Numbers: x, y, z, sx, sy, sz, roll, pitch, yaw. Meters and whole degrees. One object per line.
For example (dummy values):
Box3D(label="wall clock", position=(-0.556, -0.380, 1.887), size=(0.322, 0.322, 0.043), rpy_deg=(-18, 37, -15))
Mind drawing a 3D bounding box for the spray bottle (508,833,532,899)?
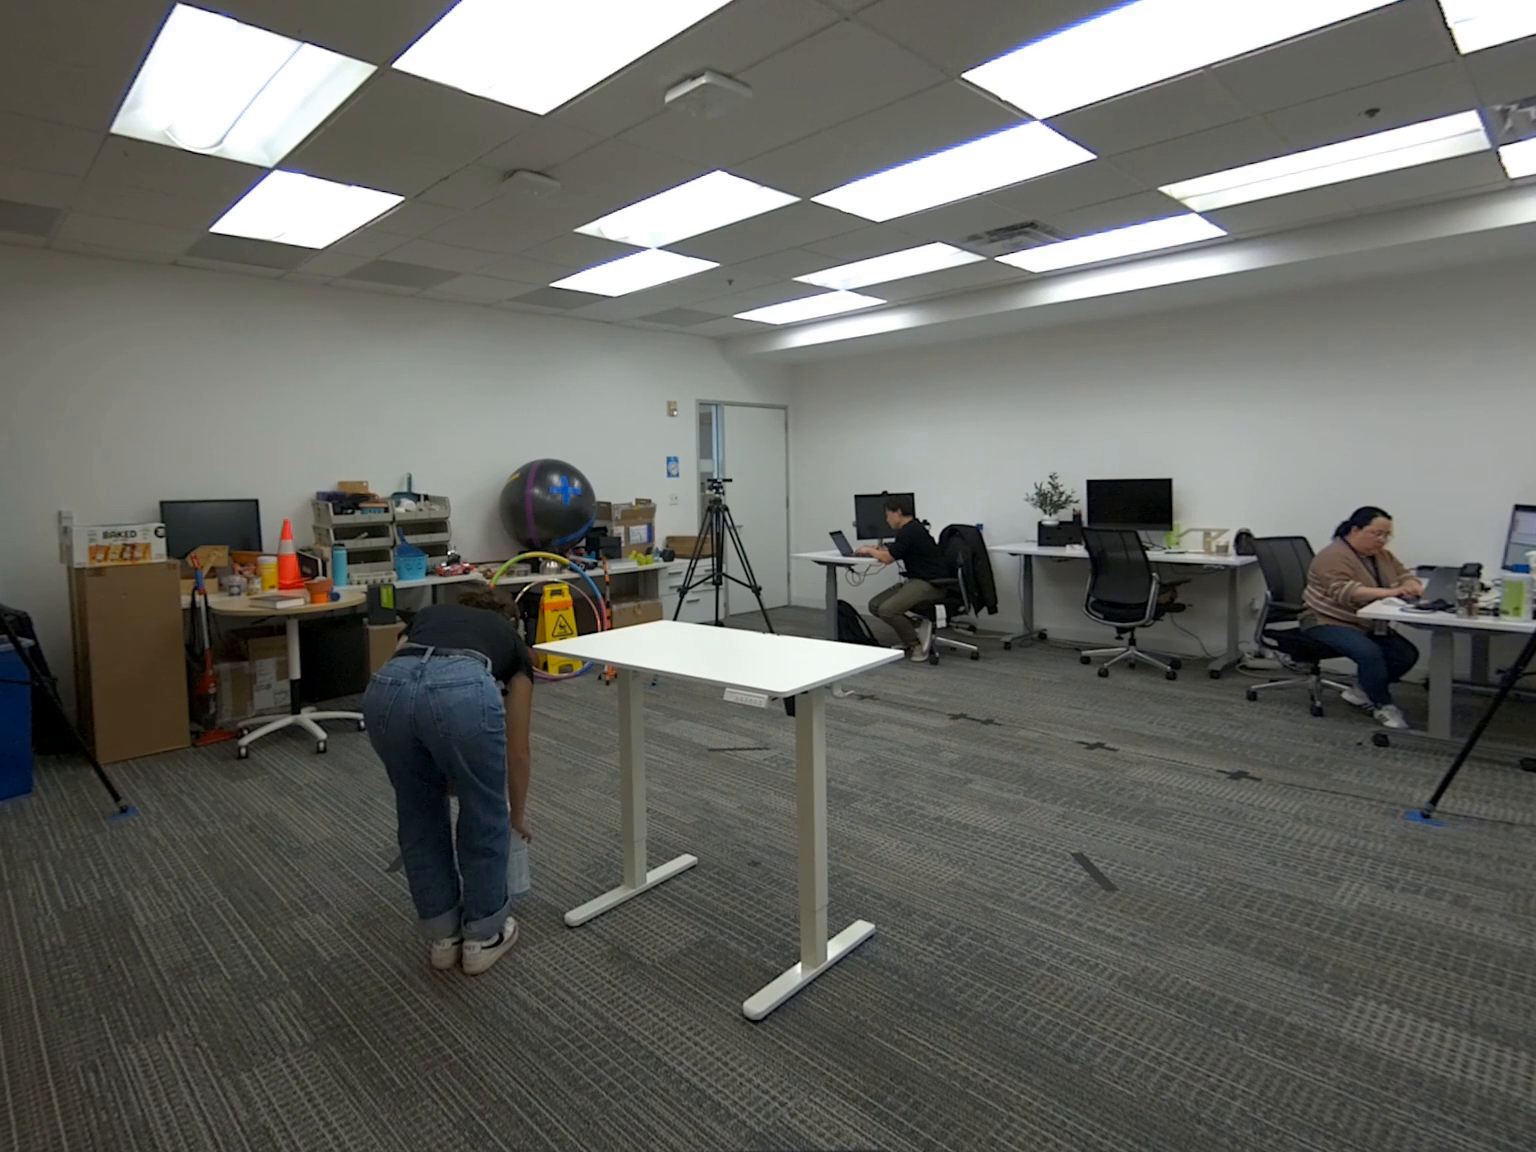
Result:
Box3D(label="spray bottle", position=(-0.835, 0.894, 2.802), size=(0.089, 0.297, 0.088), rpy_deg=(-5, 1, 30))
